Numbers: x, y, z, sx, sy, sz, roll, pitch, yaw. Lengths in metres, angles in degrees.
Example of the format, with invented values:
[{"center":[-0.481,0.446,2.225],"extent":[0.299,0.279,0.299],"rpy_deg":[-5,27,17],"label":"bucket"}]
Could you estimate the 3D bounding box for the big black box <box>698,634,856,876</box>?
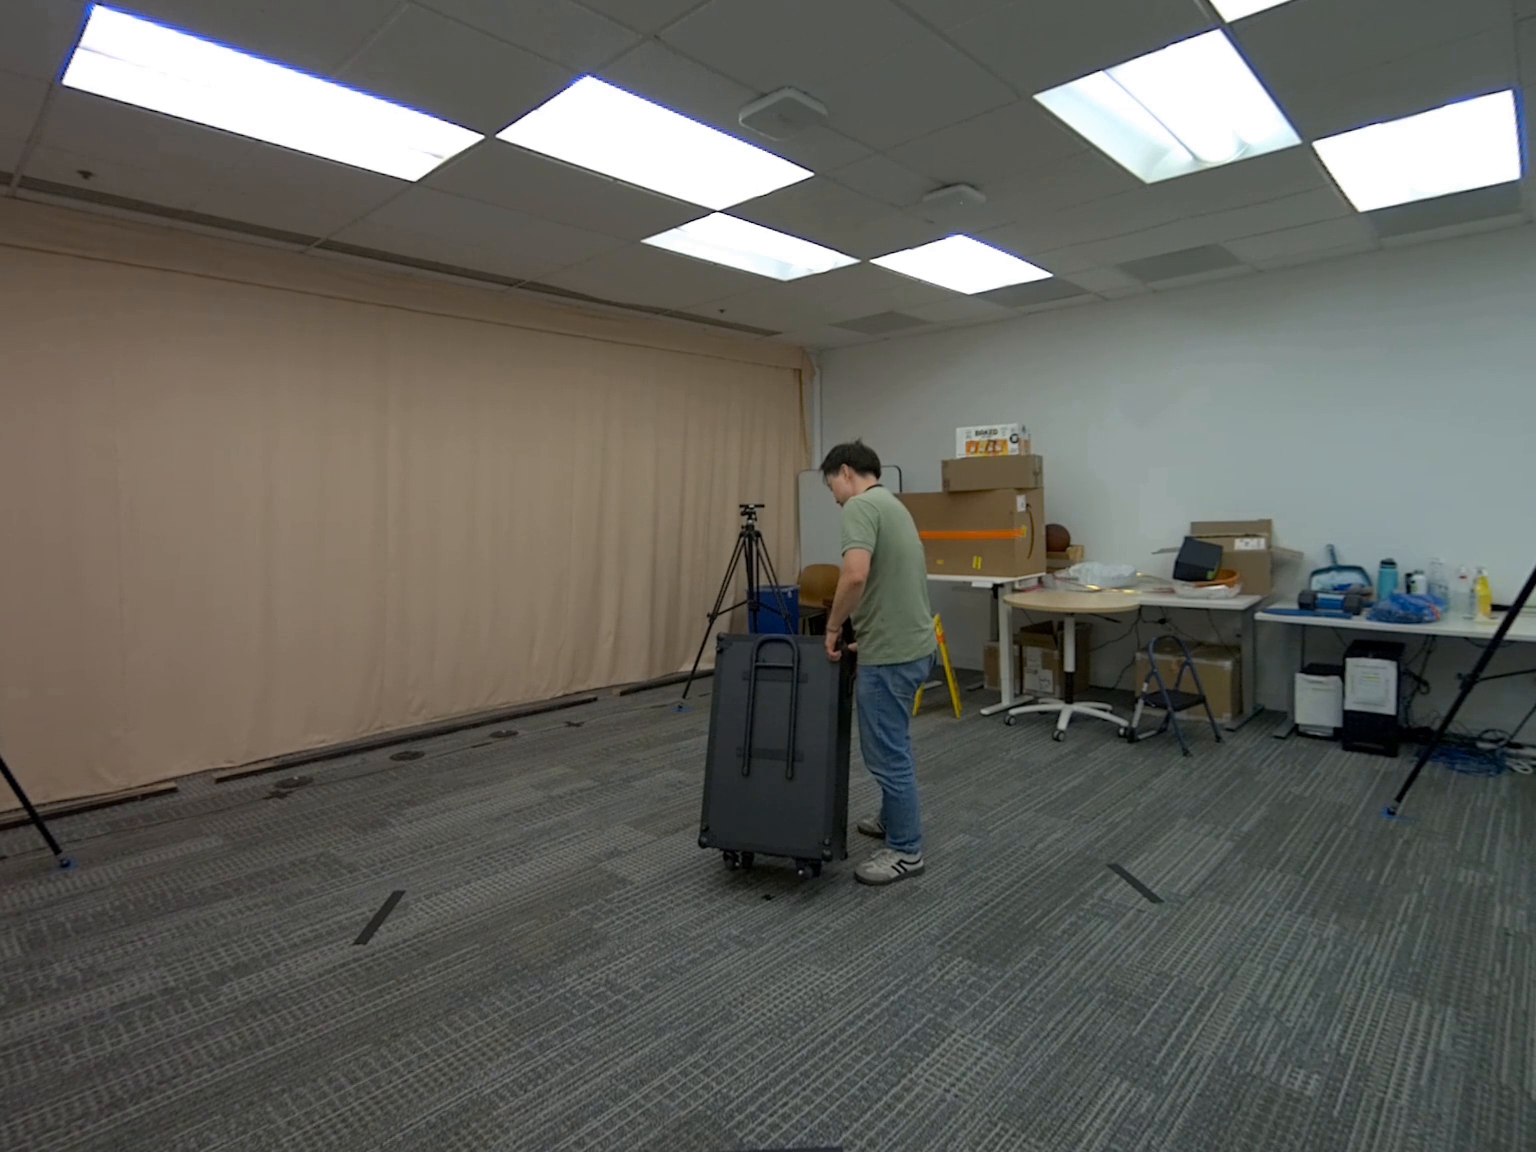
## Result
[{"center":[0.054,0.681,3.196],"extent":[0.531,0.869,0.386],"rpy_deg":[-1,-17,16],"label":"big black box"}]
